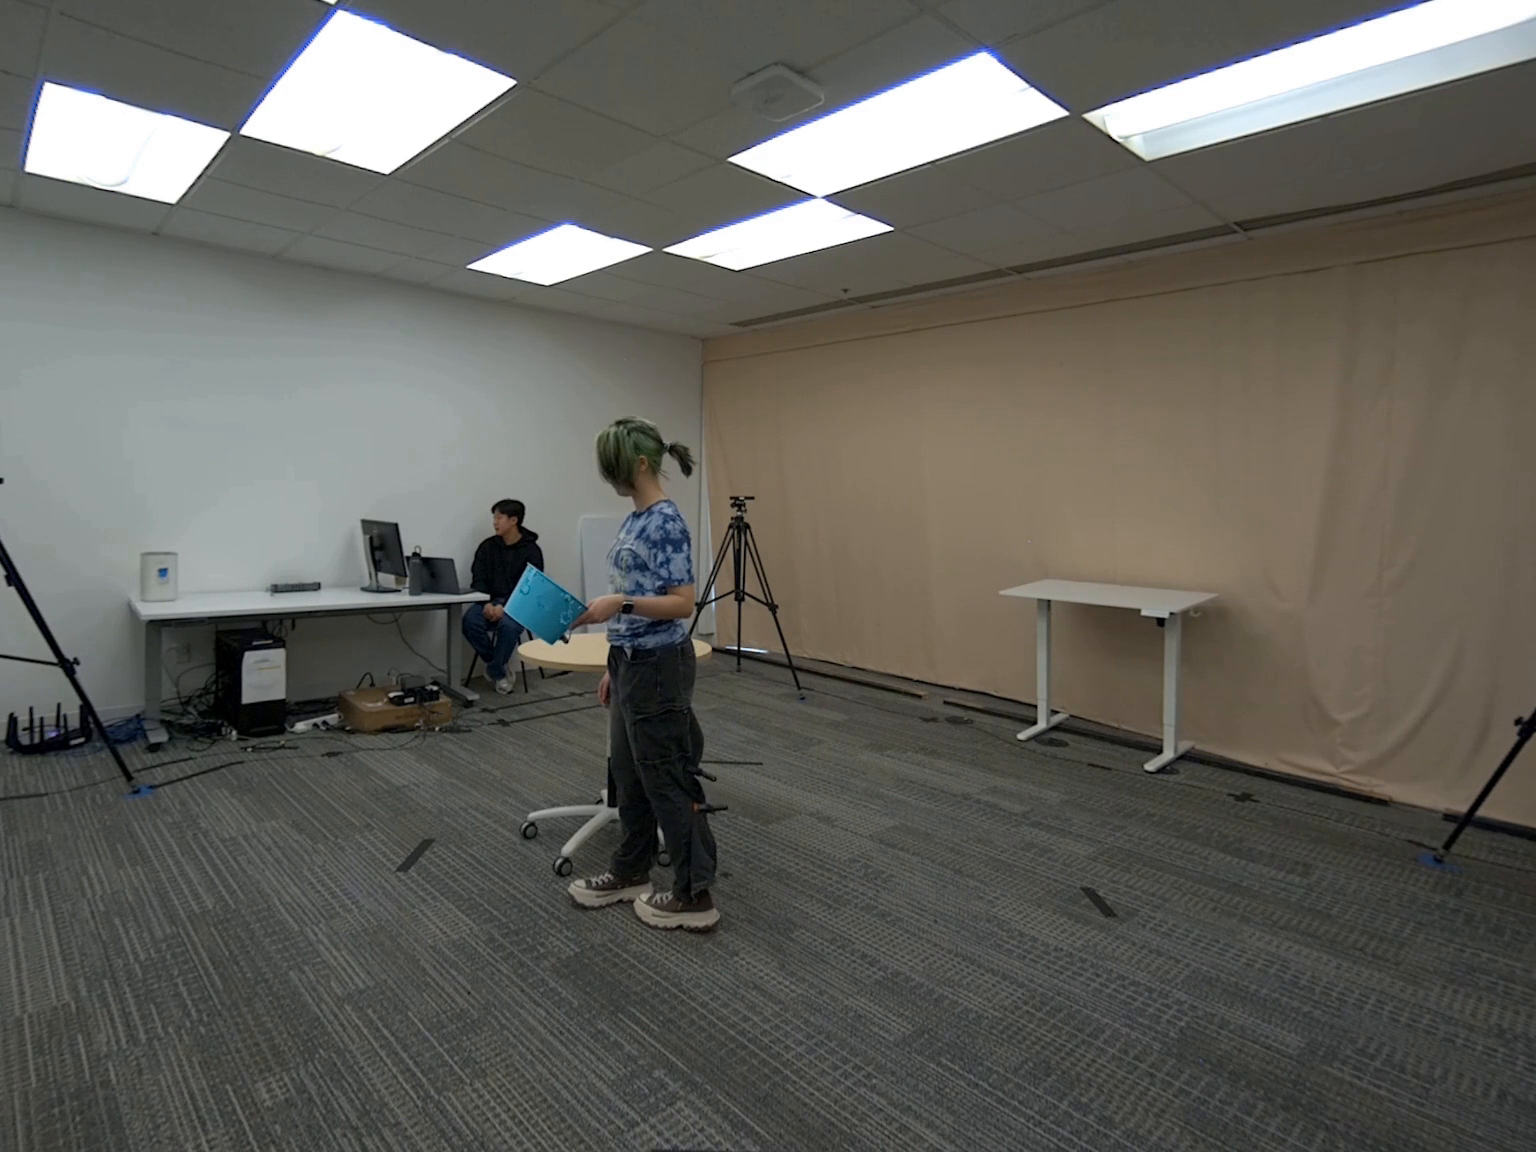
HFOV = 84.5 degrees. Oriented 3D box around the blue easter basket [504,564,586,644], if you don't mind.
[{"bbox_3d":[-0.672,0.098,2.487,0.245,0.156,0.242,35,-8,4],"label":"blue easter basket"}]
